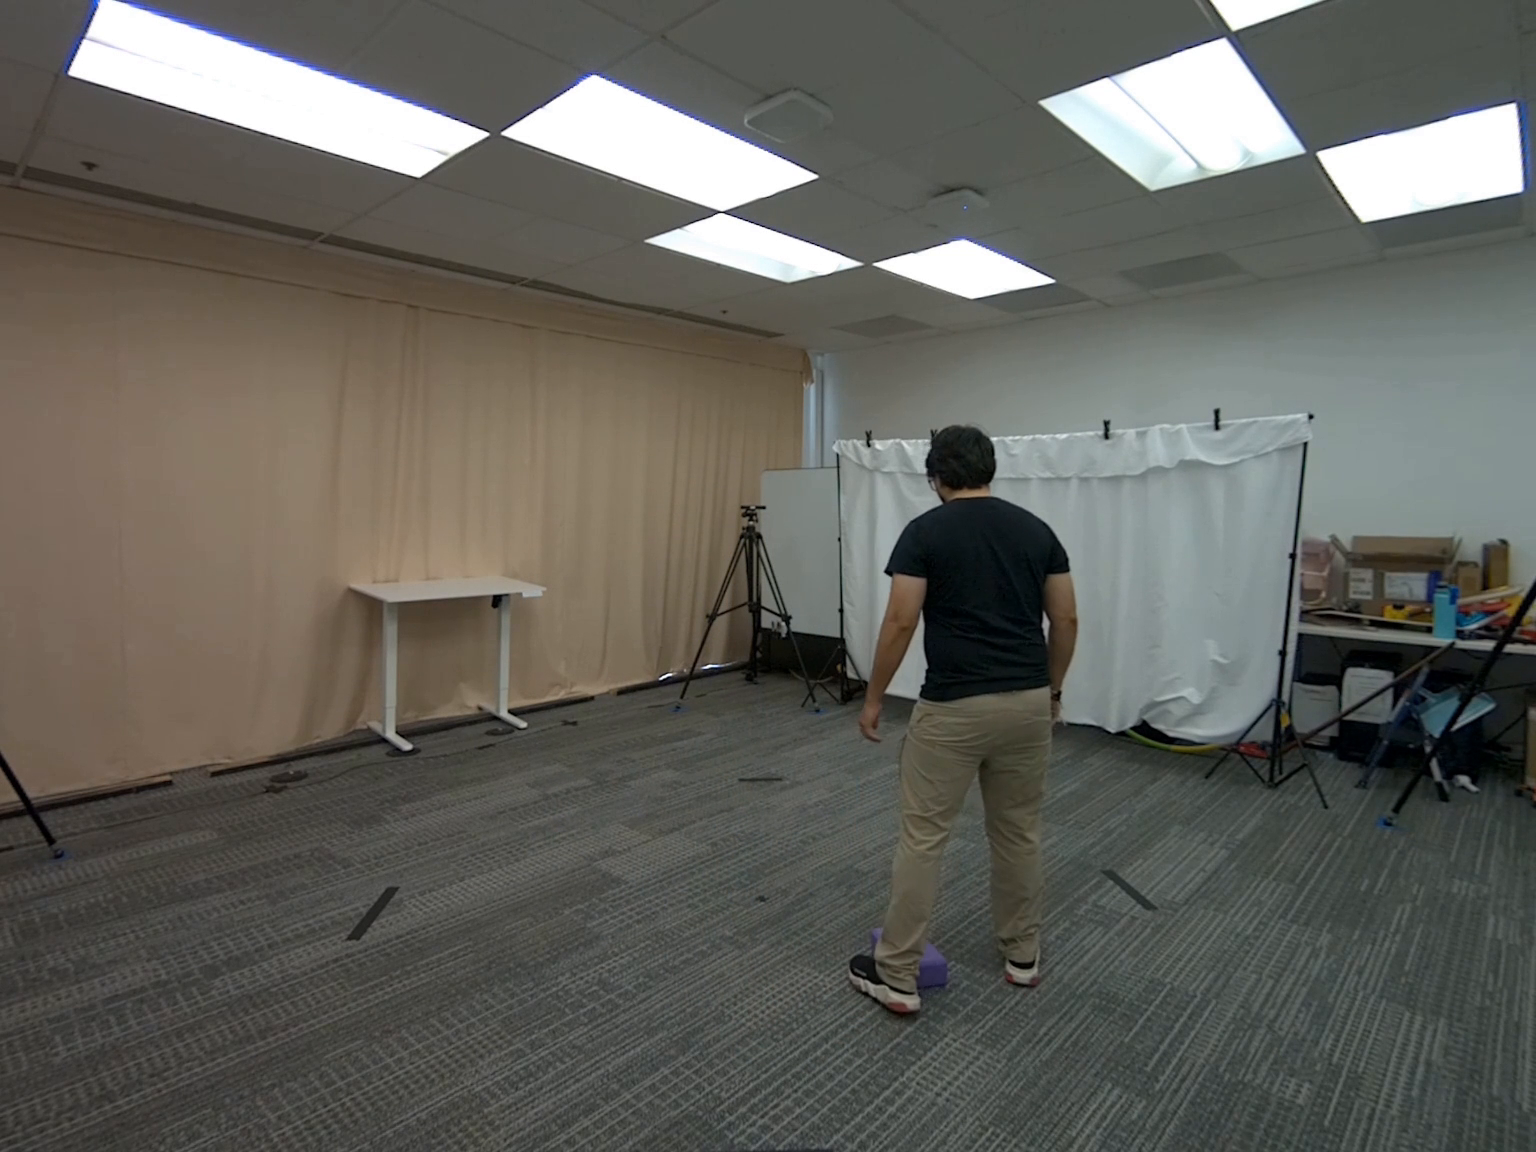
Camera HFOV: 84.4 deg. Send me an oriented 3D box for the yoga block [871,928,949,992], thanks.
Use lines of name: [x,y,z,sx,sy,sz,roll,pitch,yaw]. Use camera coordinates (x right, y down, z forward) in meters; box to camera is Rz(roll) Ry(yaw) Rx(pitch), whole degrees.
yoga block: [0.430,1.143,2.529,0.147,0.076,0.233,-2,5,-16]
